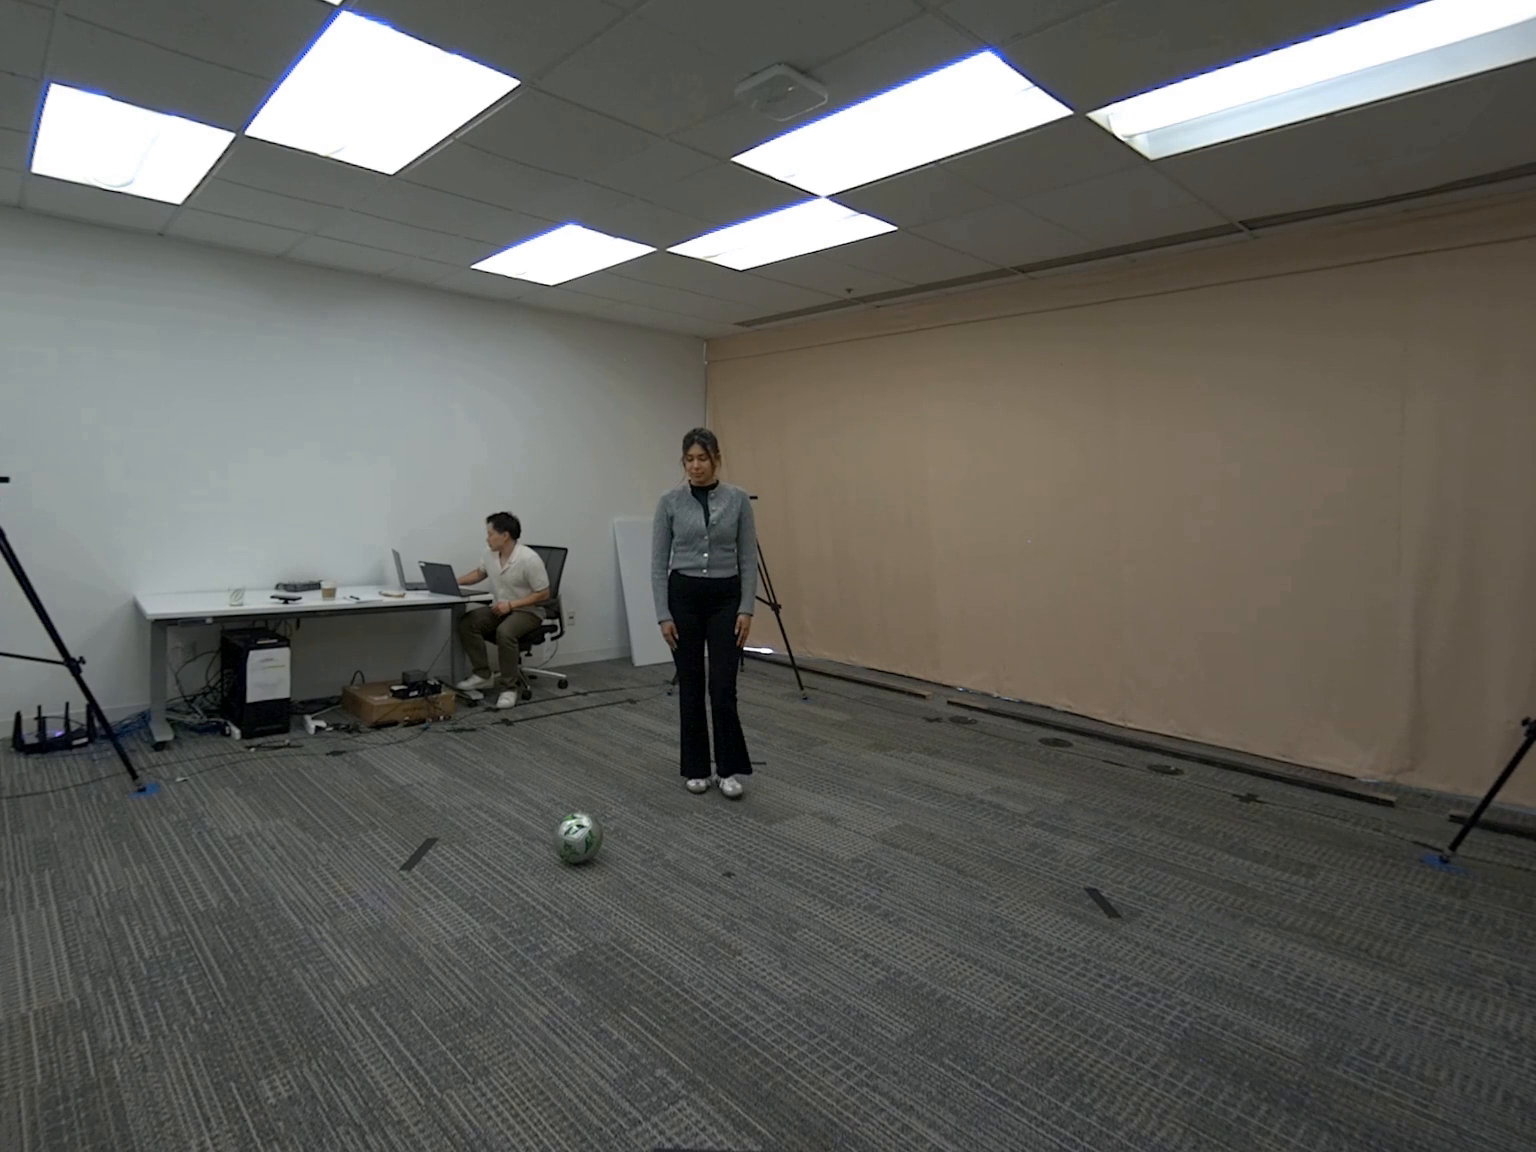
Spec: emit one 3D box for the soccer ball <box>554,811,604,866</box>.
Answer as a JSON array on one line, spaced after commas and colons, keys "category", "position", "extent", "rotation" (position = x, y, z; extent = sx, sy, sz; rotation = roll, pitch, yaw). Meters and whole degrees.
[{"category": "soccer ball", "position": [-0.729, 0.987, 3.172], "extent": [0.187, 0.187, 0.188], "rotation": [1, 4, -1]}]
